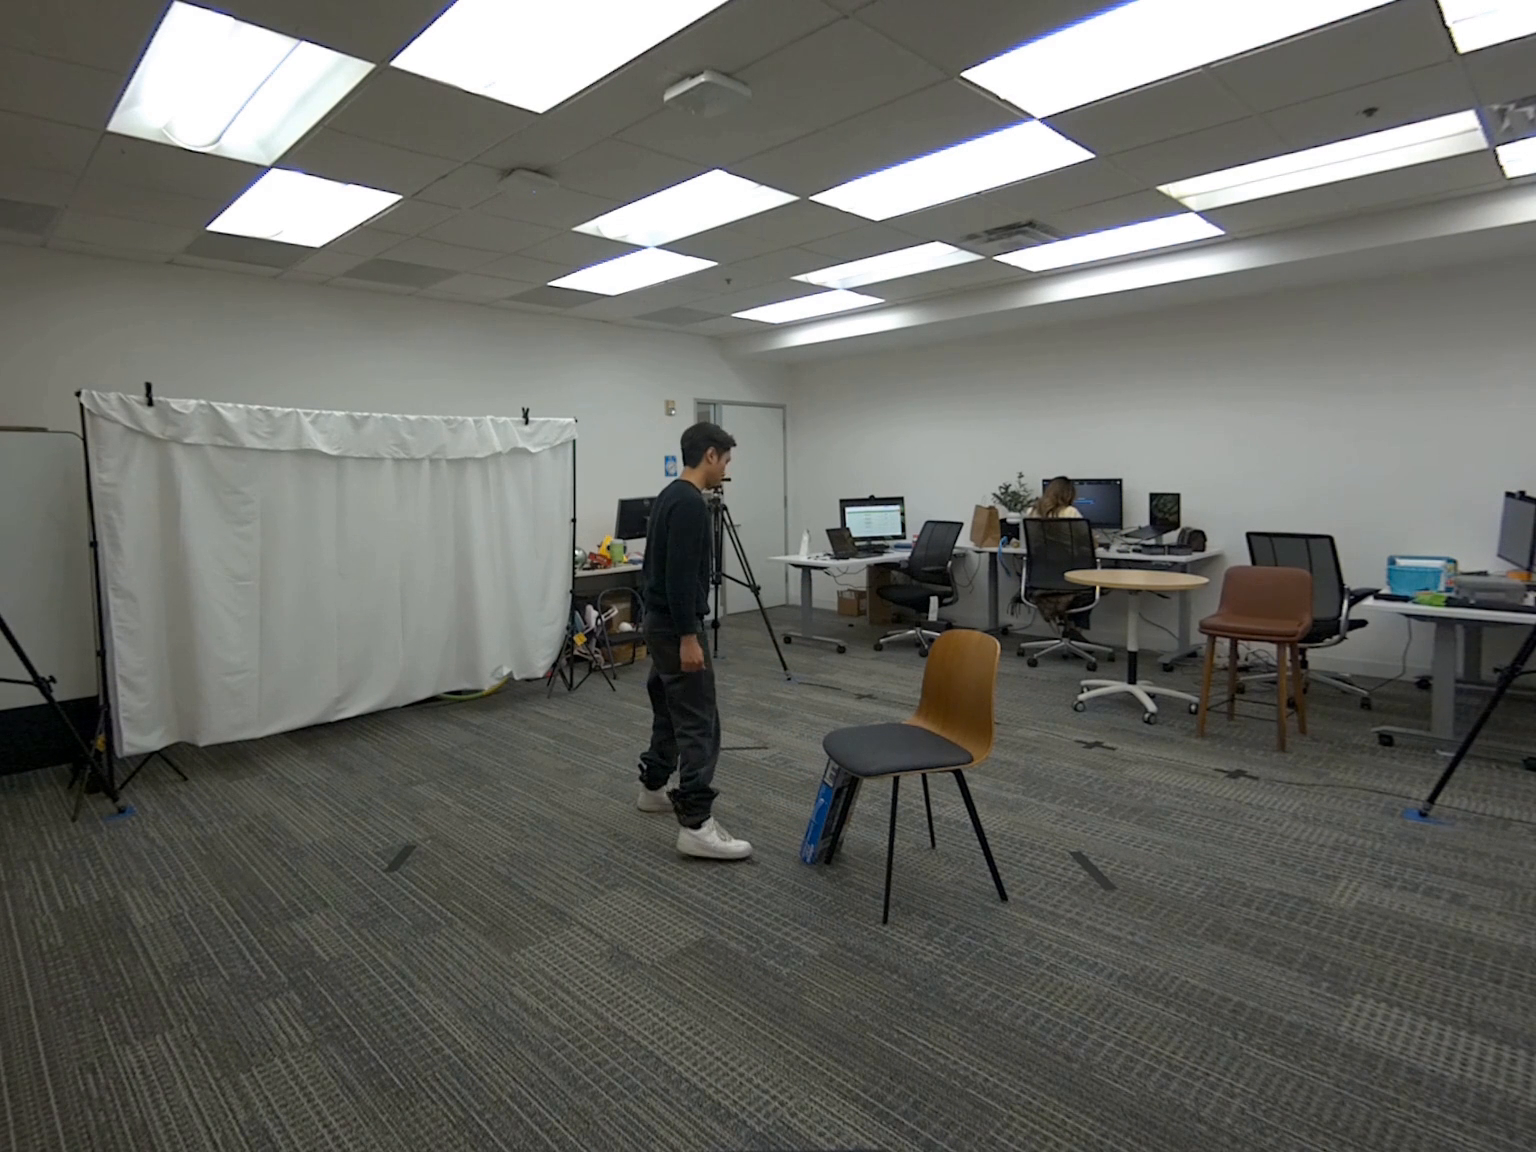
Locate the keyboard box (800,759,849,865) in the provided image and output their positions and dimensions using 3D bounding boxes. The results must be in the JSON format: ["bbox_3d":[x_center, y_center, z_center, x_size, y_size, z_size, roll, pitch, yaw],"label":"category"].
[{"bbox_3d":[0.248,0.827,3.083,0.171,0.432,0.061,-4,26,-42],"label":"keyboard box"}]
